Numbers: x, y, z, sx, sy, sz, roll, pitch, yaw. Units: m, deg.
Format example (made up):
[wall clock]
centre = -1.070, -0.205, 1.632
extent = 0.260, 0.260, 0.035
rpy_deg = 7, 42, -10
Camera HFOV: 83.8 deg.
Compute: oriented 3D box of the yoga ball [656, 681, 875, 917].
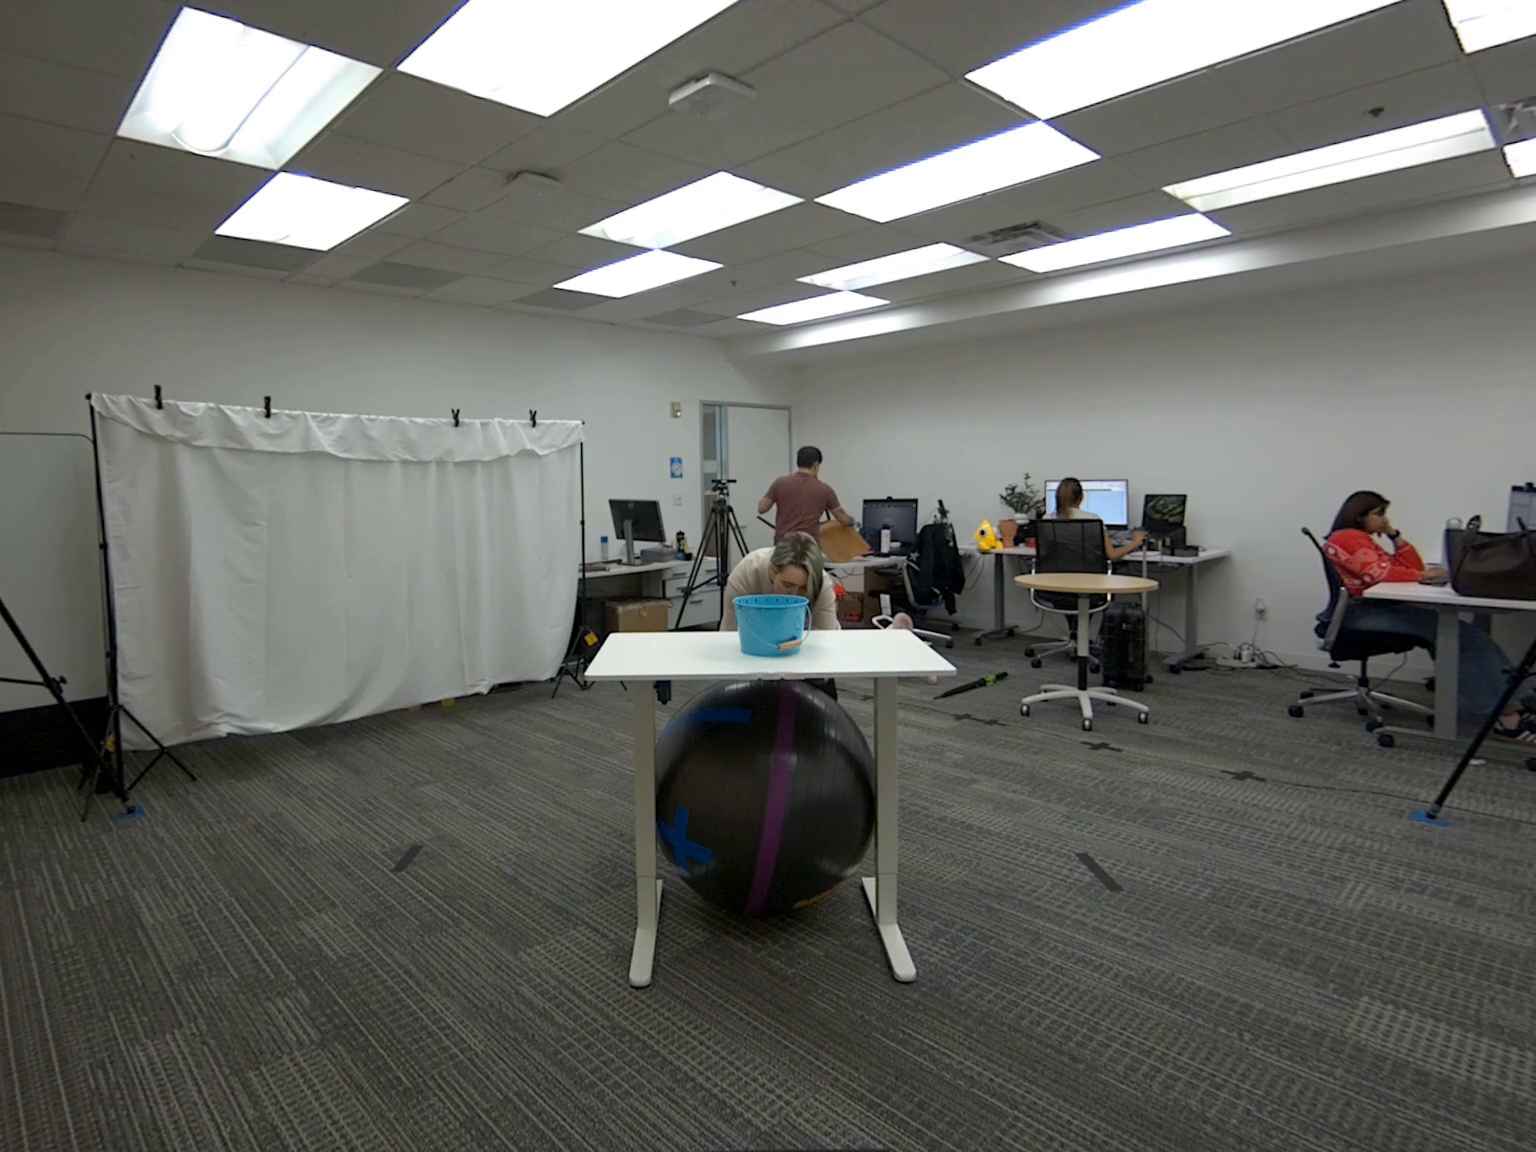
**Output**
[yoga ball]
centre = -0.020, 0.710, 2.811
extent = 0.757, 0.755, 0.762
rpy_deg = -1, 5, -2
